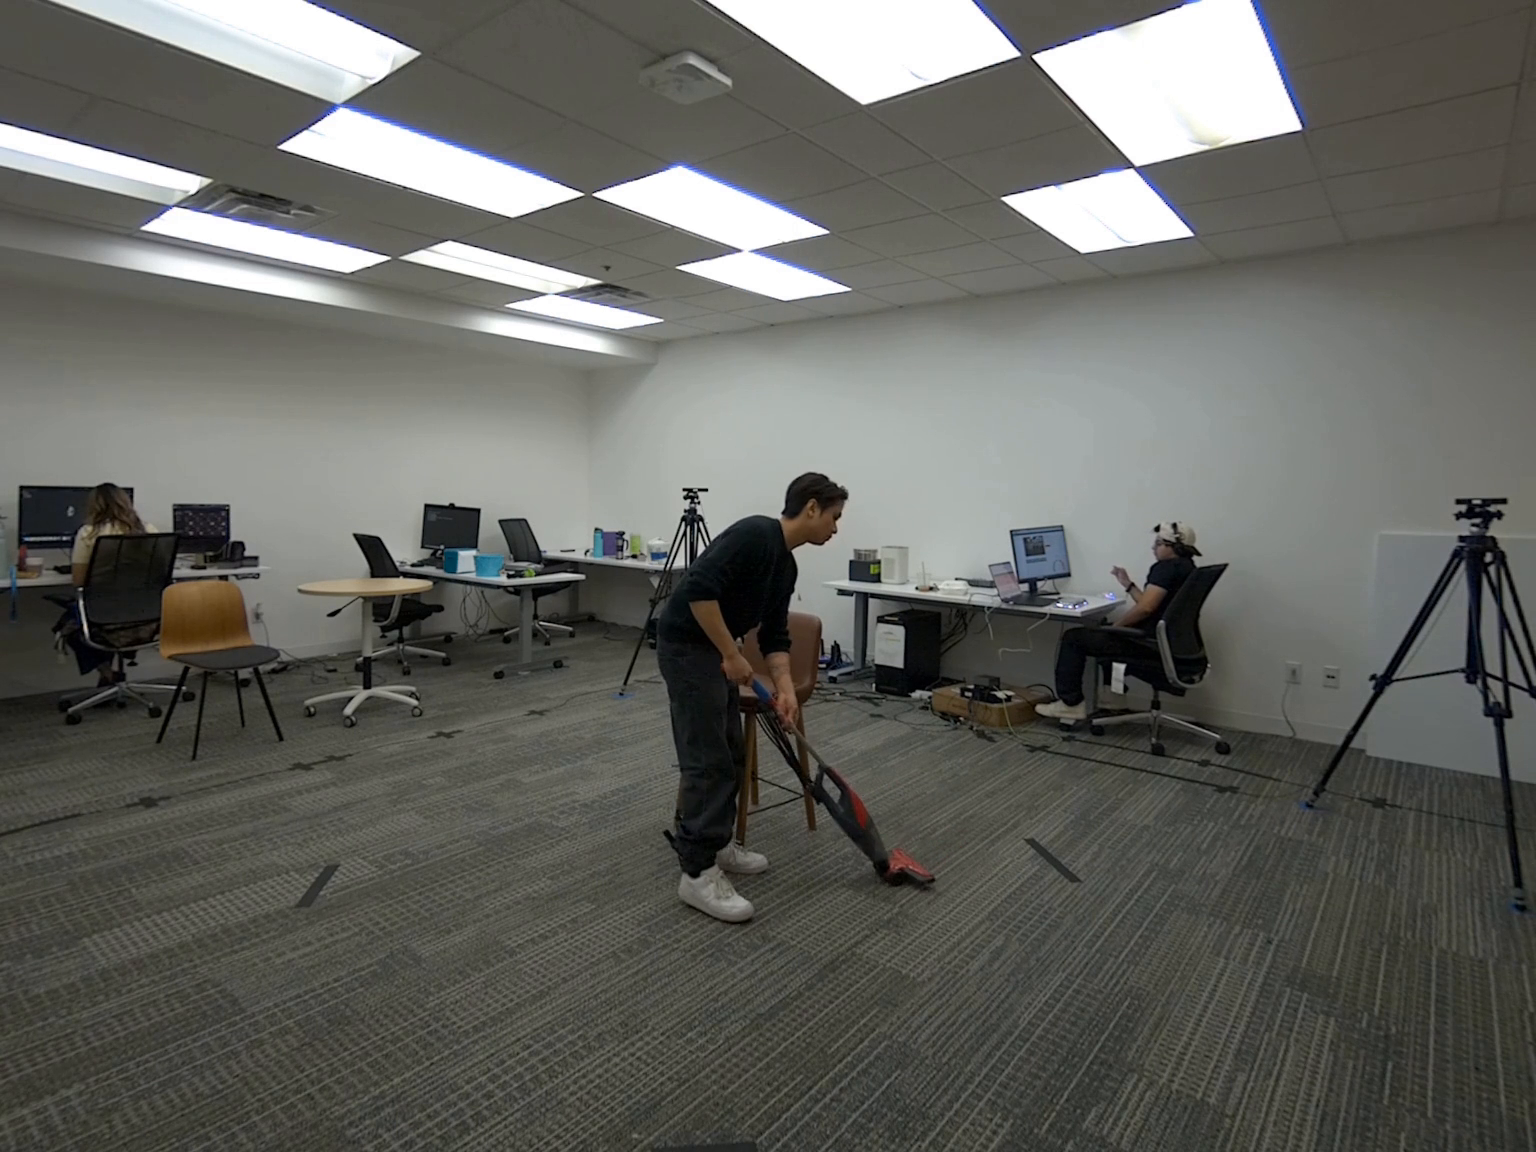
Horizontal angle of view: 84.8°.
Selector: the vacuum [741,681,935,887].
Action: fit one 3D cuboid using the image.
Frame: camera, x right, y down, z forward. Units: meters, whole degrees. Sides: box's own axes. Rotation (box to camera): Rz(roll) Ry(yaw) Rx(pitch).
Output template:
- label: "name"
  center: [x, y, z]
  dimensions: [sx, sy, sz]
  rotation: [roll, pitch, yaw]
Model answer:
- label: "vacuum"
  center: [0.171, 0.689, 2.954]
  dimensions: [0.144, 1.027, 0.258]
  rotation: [-43, 16, -13]
